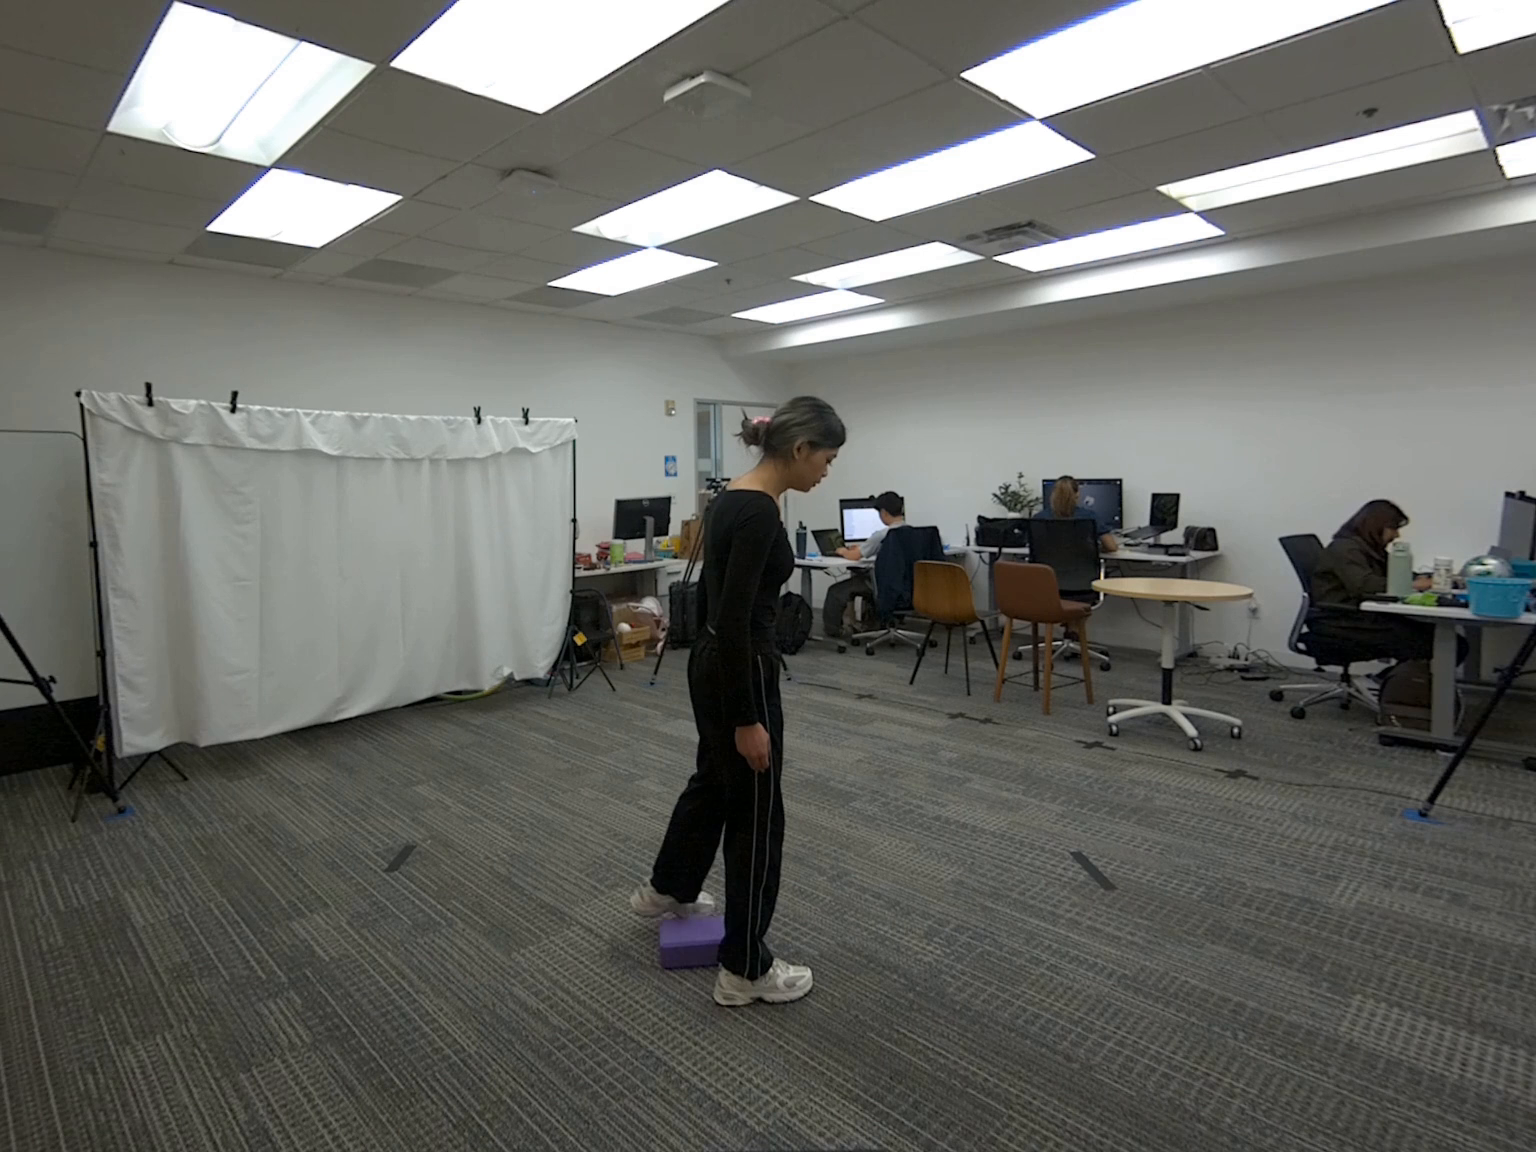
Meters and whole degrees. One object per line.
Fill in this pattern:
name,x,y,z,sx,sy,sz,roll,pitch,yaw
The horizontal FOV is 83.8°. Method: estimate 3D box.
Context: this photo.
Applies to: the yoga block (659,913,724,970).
yoga block,-0.203,1.075,2.516,0.228,0.076,0.150,-2,6,-5
